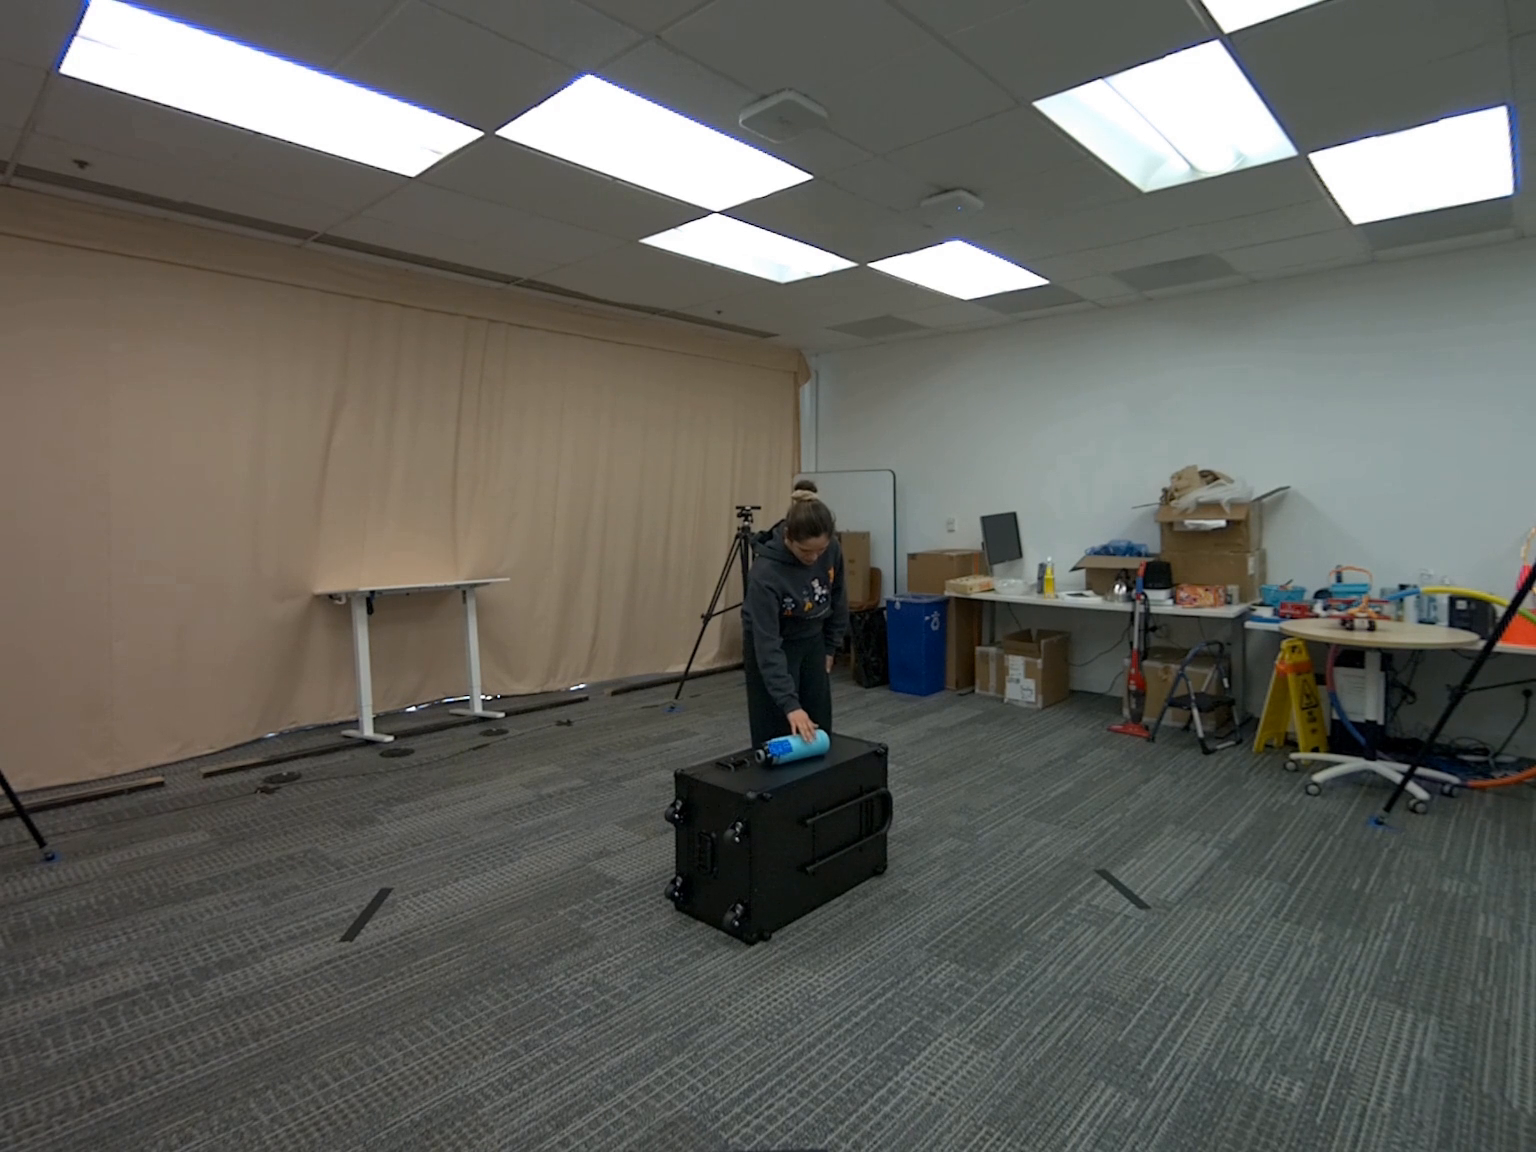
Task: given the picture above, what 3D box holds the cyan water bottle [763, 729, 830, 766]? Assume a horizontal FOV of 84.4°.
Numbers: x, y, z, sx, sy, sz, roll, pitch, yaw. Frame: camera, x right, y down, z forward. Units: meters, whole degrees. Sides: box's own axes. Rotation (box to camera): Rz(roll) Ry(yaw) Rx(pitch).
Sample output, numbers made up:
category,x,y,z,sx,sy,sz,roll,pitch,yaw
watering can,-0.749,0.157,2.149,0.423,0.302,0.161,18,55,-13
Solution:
category,x,y,z,sx,sy,sz,roll,pitch,yaw
cyan water bottle,0.098,0.603,3.005,0.275,0.092,0.095,-4,6,-35
